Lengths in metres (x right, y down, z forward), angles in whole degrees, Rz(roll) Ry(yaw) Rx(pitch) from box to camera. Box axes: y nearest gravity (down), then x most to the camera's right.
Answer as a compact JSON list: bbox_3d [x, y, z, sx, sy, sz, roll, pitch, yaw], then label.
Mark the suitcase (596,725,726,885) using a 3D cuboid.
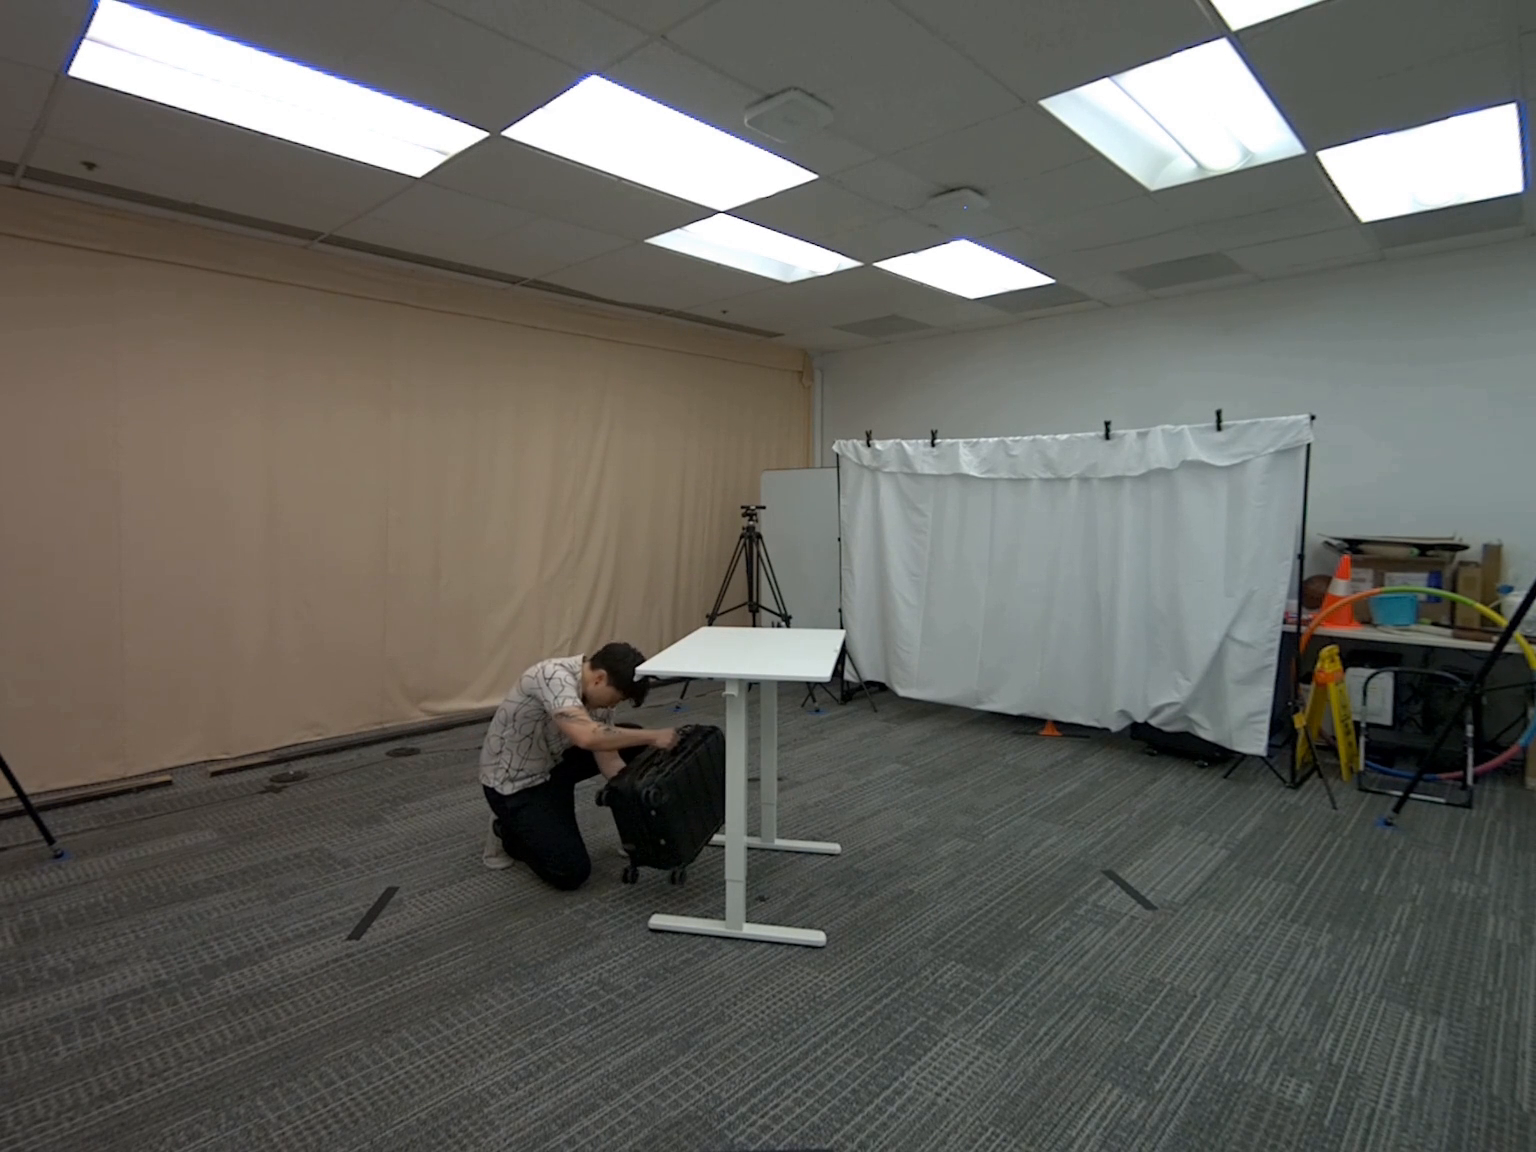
[{"bbox_3d":[-0.340,0.792,3.048,0.254,0.372,0.540,-10,11,29],"label":"suitcase"}]
